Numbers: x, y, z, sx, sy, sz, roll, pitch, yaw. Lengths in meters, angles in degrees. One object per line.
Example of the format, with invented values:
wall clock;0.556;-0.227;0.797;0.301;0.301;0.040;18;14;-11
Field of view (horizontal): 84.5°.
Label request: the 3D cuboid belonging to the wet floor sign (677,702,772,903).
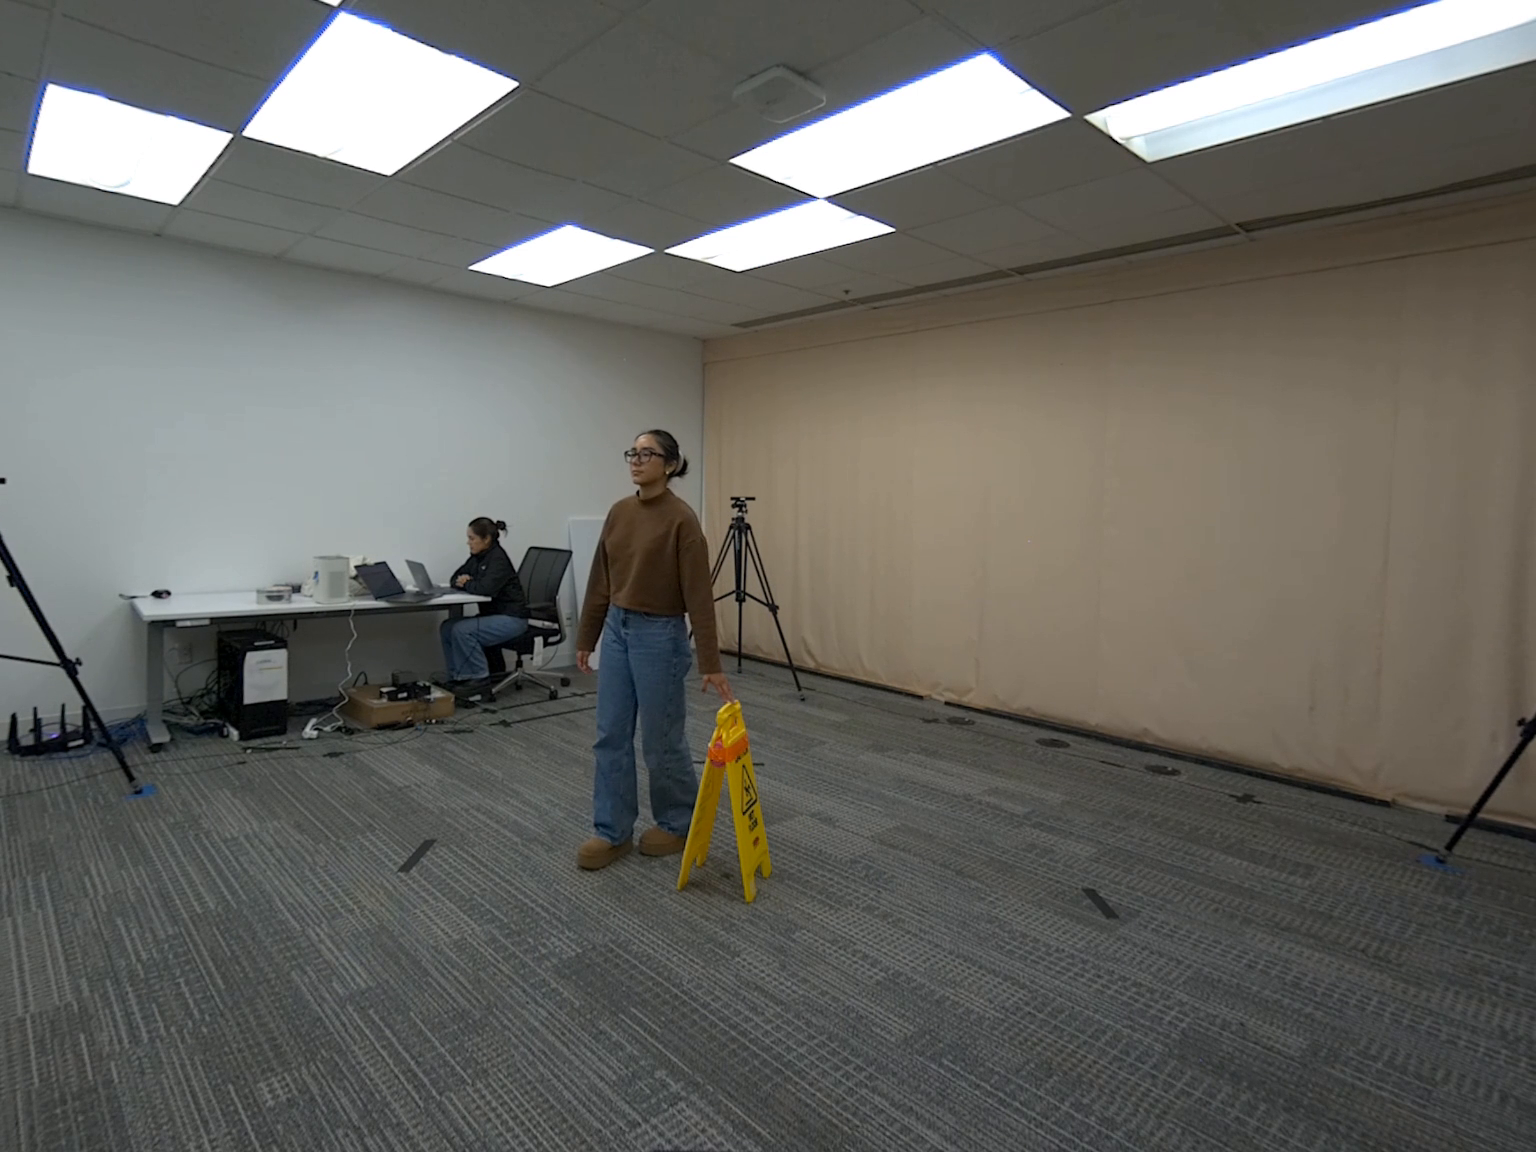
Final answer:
wet floor sign;-0.150;0.789;3.041;0.294;0.644;0.279;3;5;17
